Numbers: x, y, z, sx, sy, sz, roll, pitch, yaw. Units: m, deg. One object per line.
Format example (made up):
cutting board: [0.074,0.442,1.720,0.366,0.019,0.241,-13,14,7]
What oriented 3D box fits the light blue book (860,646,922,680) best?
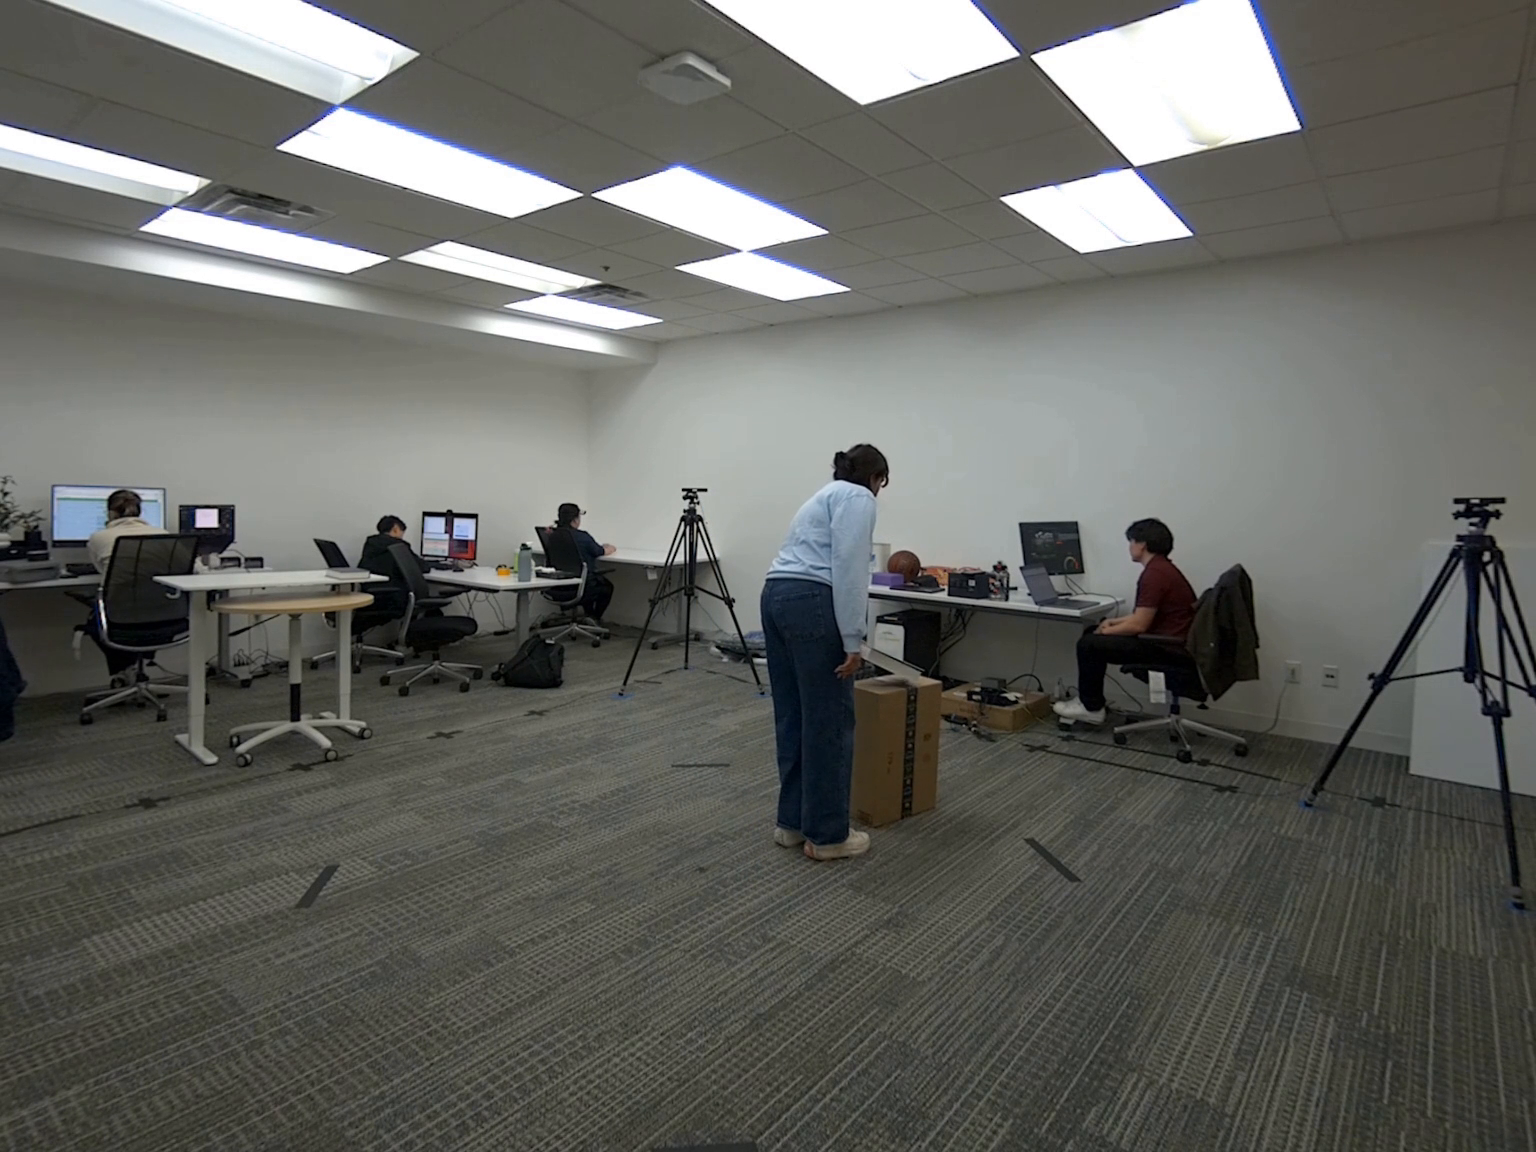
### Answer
light blue book: [0.510,0.363,3.691,0.257,0.059,0.194,24,-3,-13]
